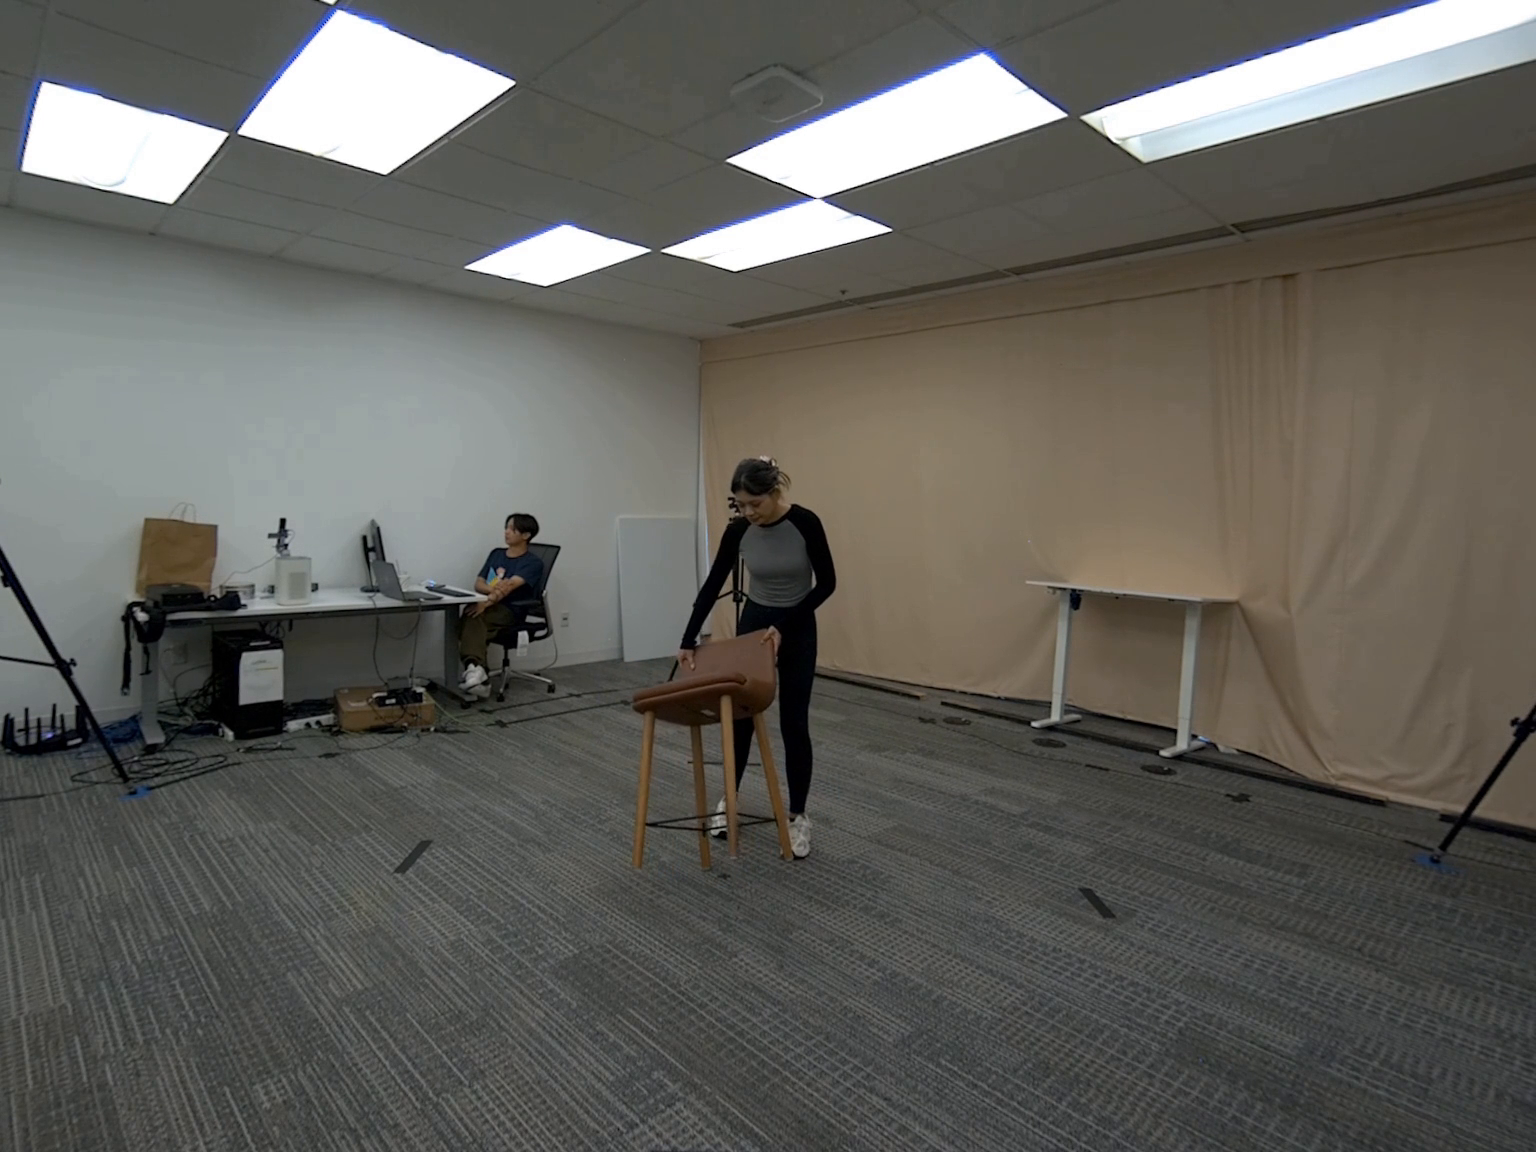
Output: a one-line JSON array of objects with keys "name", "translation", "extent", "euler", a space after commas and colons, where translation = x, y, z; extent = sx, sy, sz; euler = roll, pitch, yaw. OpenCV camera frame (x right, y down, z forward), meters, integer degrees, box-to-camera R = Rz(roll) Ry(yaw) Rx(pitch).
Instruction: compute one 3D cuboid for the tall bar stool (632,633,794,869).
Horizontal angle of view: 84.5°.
[{"name": "tall bar stool", "translation": [-0.216, 0.602, 3.074], "extent": [0.462, 0.906, 0.453], "euler": [-17, -27, 26]}]
